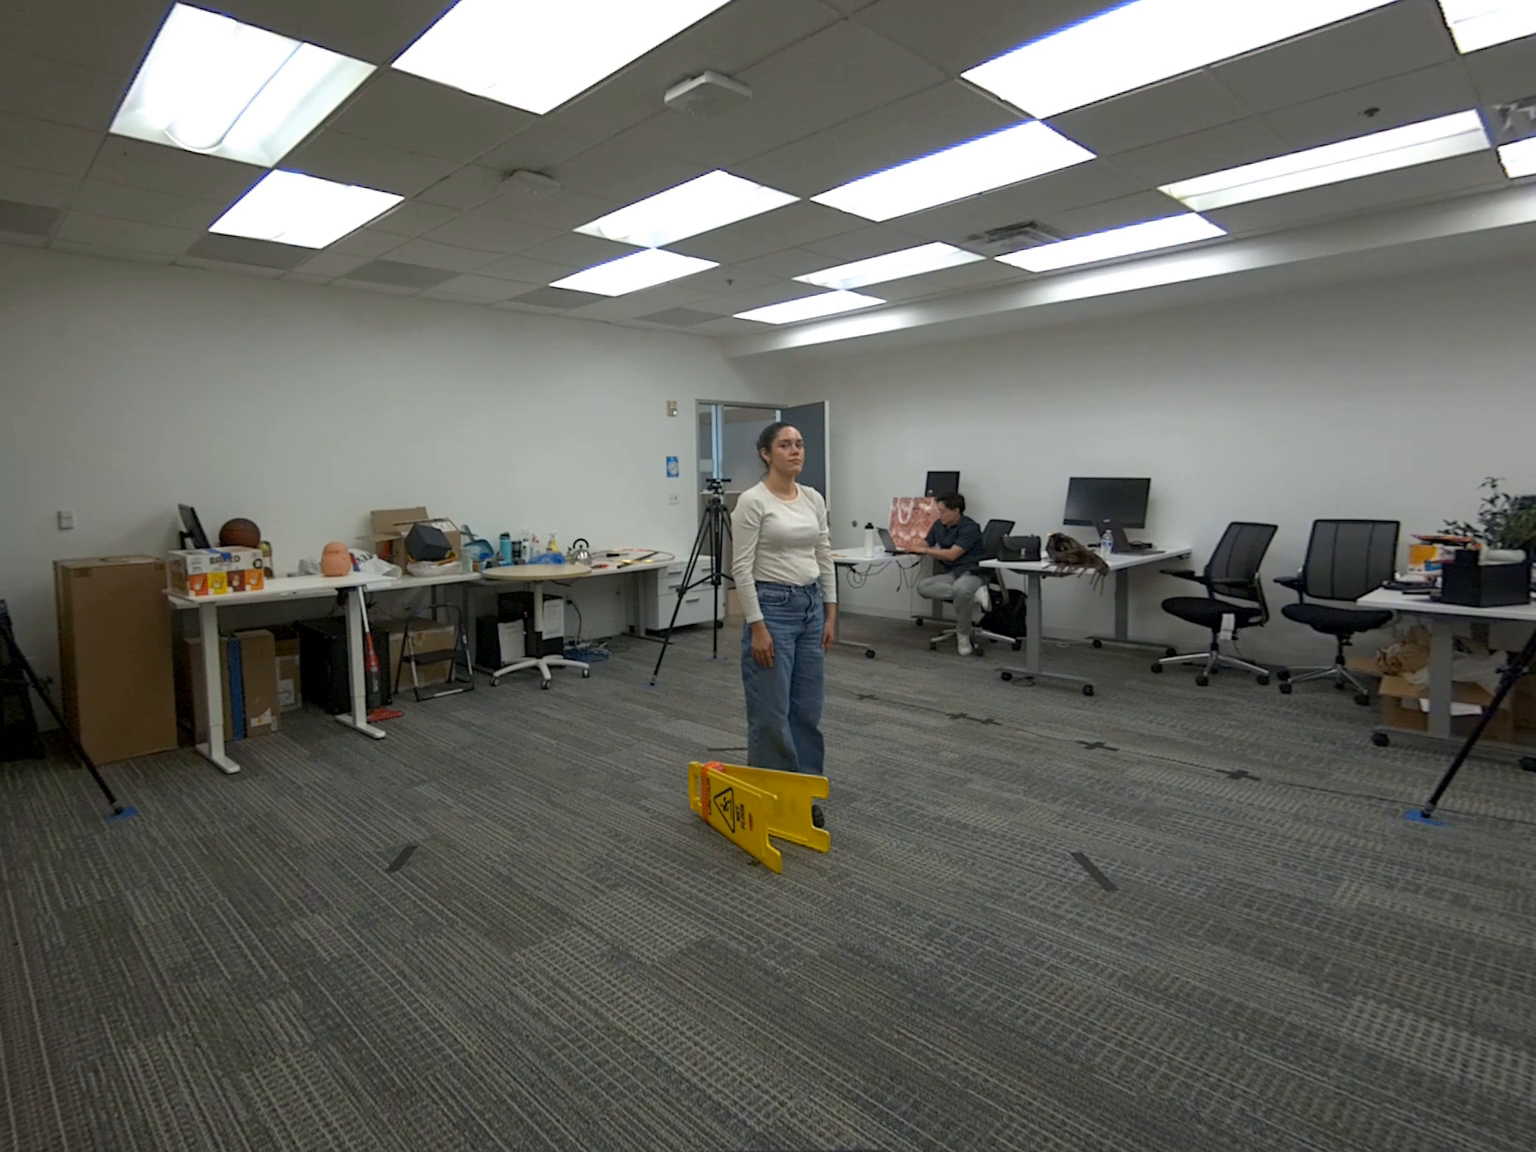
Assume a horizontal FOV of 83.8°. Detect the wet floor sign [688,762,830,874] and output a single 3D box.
[{"bbox_3d":[-0.098,0.890,3.333,0.282,0.281,0.665,-4,5,-43],"label":"wet floor sign"}]
